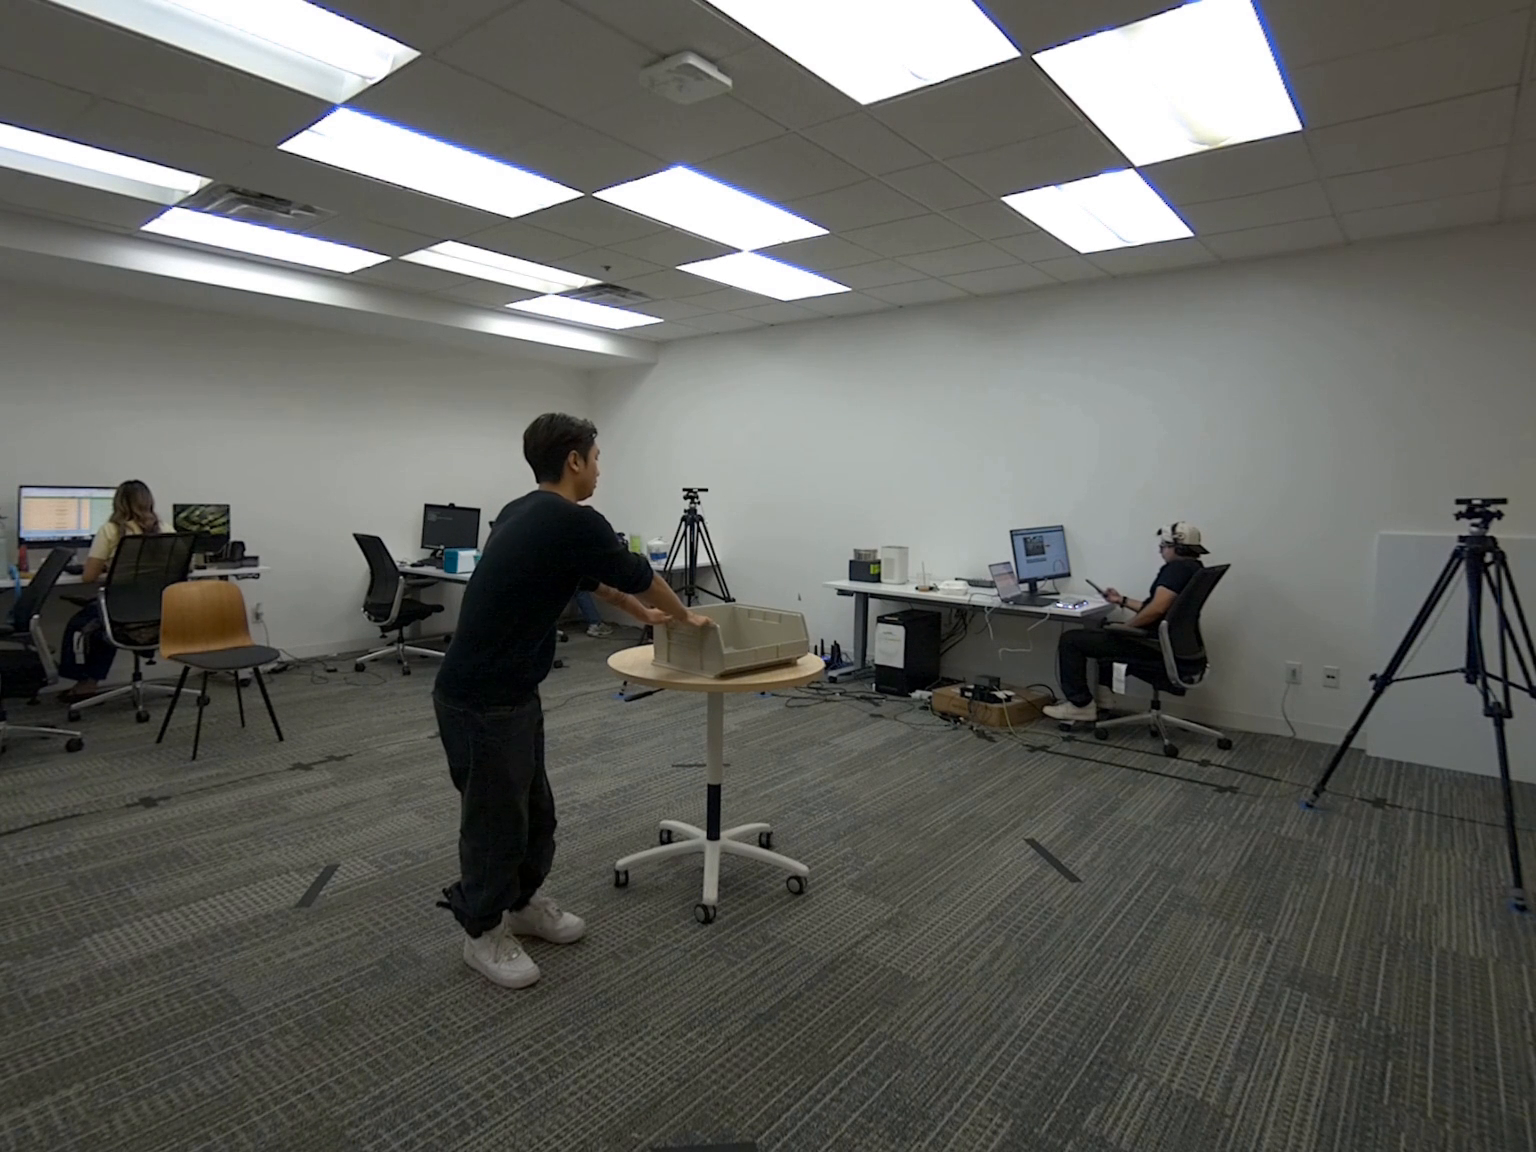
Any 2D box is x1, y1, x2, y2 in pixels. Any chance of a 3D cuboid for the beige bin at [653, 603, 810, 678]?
[{"bbox_3d":[-0.140,0.211,2.937,0.410,0.188,0.390,-5,5,-45],"label":"beige bin"}]
